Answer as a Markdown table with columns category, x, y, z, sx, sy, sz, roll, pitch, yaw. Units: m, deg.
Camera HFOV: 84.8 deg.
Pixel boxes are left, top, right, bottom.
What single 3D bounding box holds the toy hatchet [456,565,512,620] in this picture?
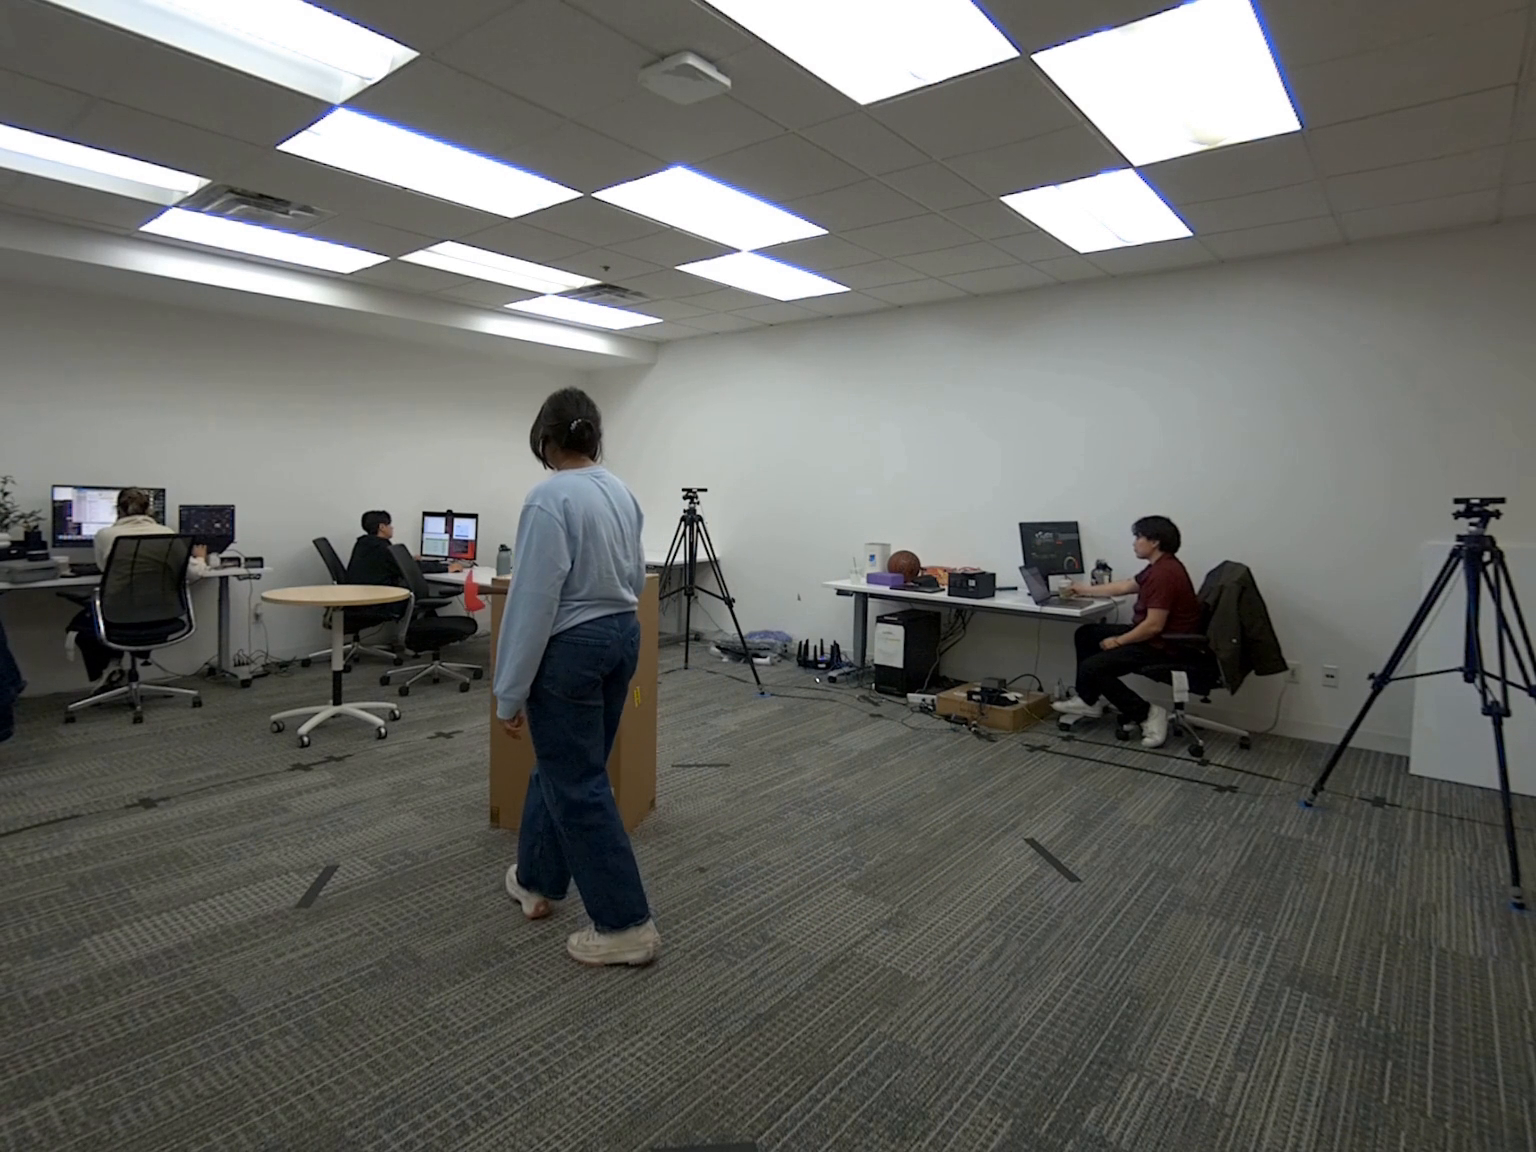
| category | x | y | z | sx | sy | sz | roll | pitch | yaw |
| --- | --- | --- | --- | --- | --- | --- | --- | --- | --- |
| toy hatchet | -0.865 | 0.072 | 2.748 | 0.265 | 0.133 | 0.030 | 19 | -21 | -13 |
